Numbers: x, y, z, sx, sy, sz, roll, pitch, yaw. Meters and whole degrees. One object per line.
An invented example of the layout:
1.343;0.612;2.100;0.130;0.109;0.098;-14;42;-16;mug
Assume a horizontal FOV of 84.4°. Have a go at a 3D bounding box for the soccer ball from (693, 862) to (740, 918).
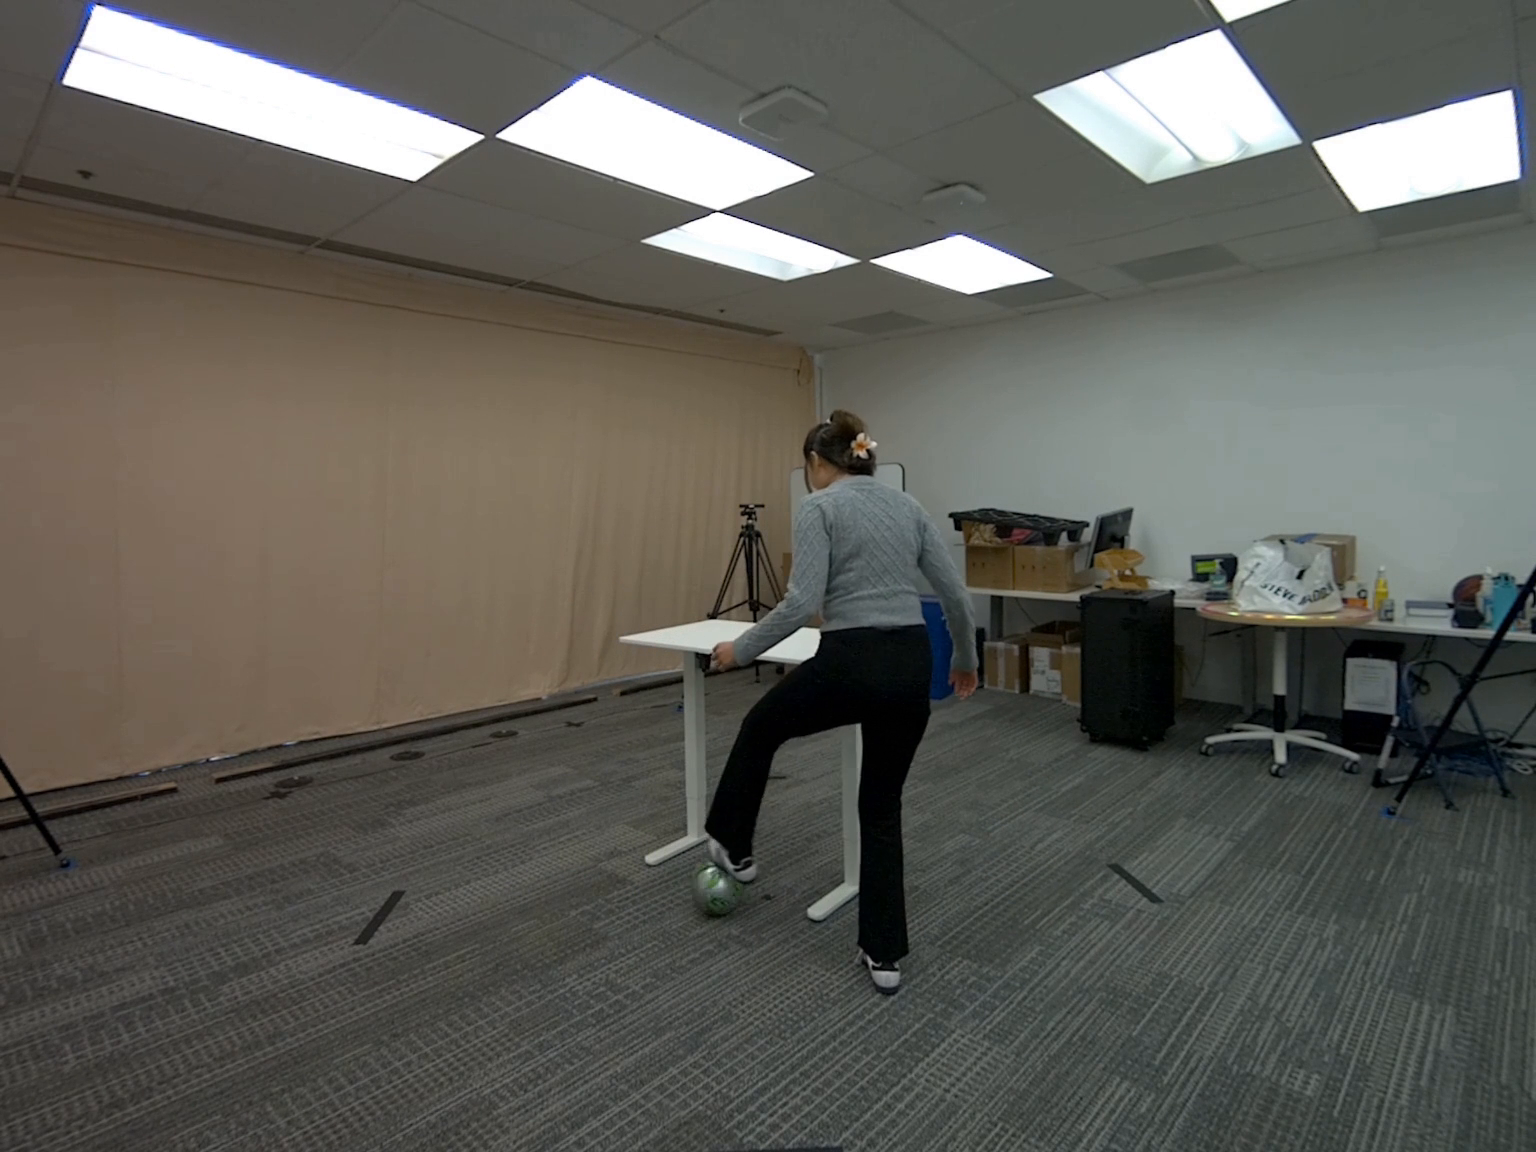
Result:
-0.152;1.058;2.868;0.187;0.187;0.188;-1;4;-2;soccer ball
